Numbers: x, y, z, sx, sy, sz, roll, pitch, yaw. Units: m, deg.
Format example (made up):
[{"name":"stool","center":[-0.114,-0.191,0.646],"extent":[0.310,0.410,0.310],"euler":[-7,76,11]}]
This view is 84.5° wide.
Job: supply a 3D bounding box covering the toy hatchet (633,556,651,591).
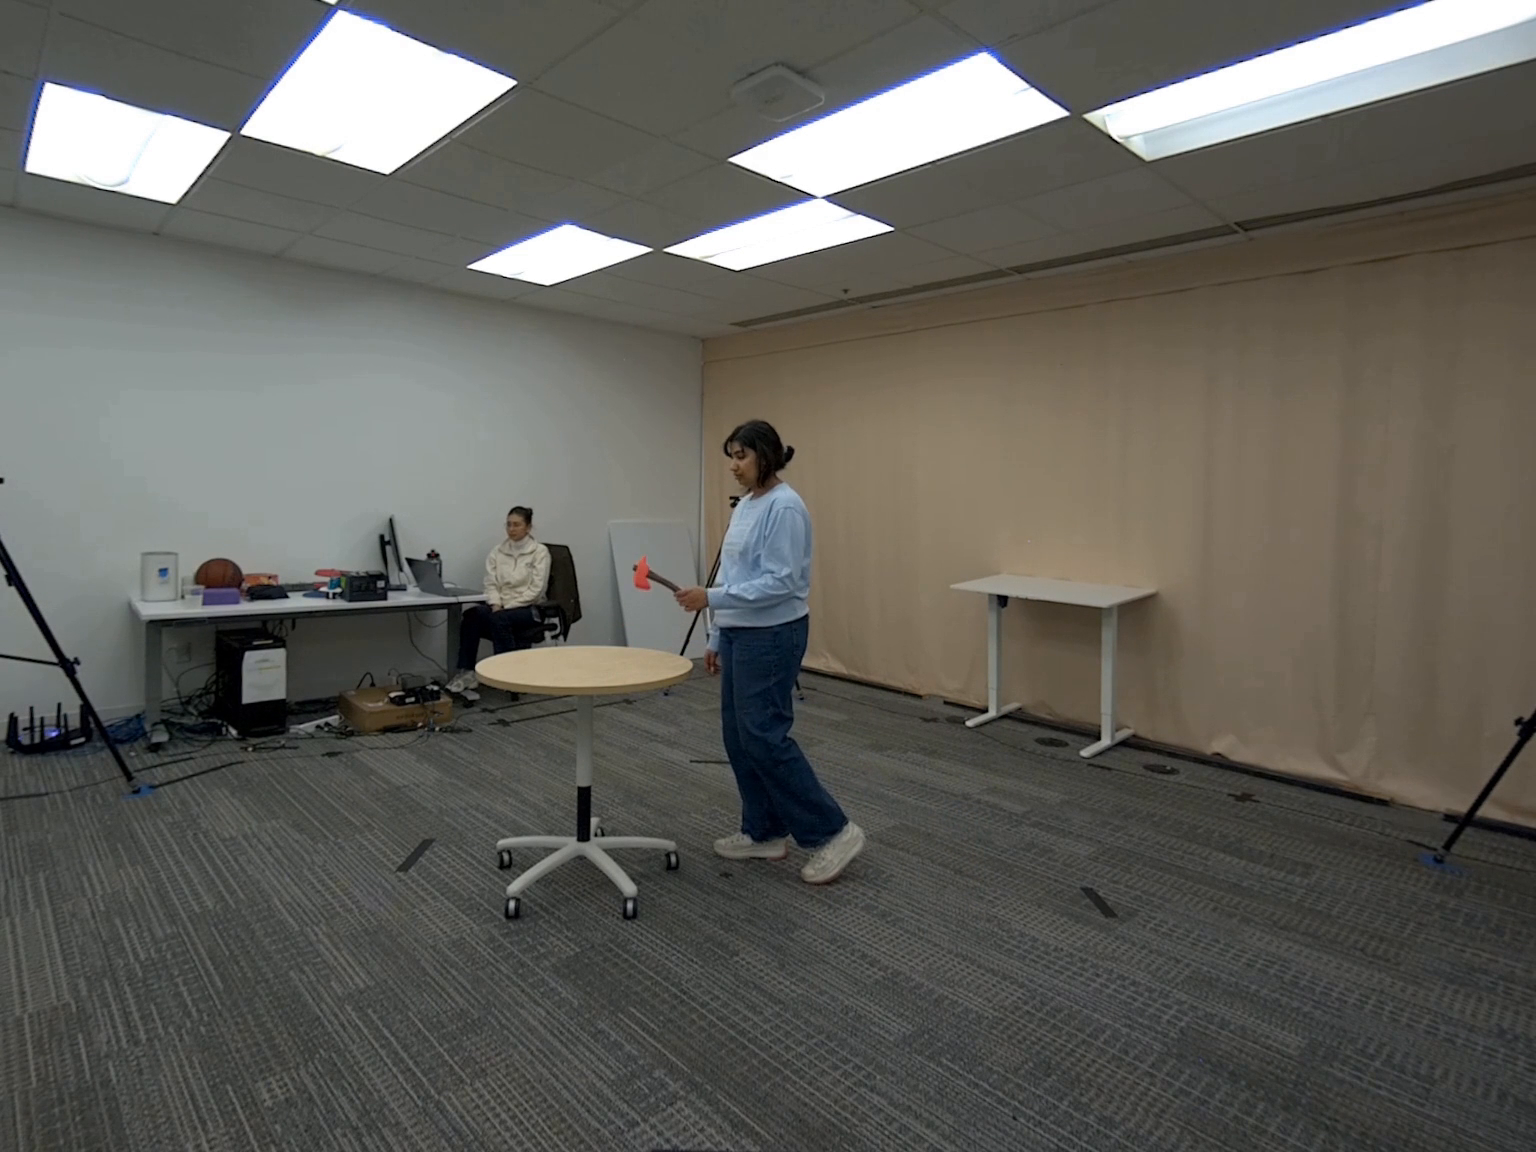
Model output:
[{"name":"toy hatchet","center":[-0.388,0.067,2.960],"extent":[0.030,0.267,0.131],"euler":[-36,13,44]}]
